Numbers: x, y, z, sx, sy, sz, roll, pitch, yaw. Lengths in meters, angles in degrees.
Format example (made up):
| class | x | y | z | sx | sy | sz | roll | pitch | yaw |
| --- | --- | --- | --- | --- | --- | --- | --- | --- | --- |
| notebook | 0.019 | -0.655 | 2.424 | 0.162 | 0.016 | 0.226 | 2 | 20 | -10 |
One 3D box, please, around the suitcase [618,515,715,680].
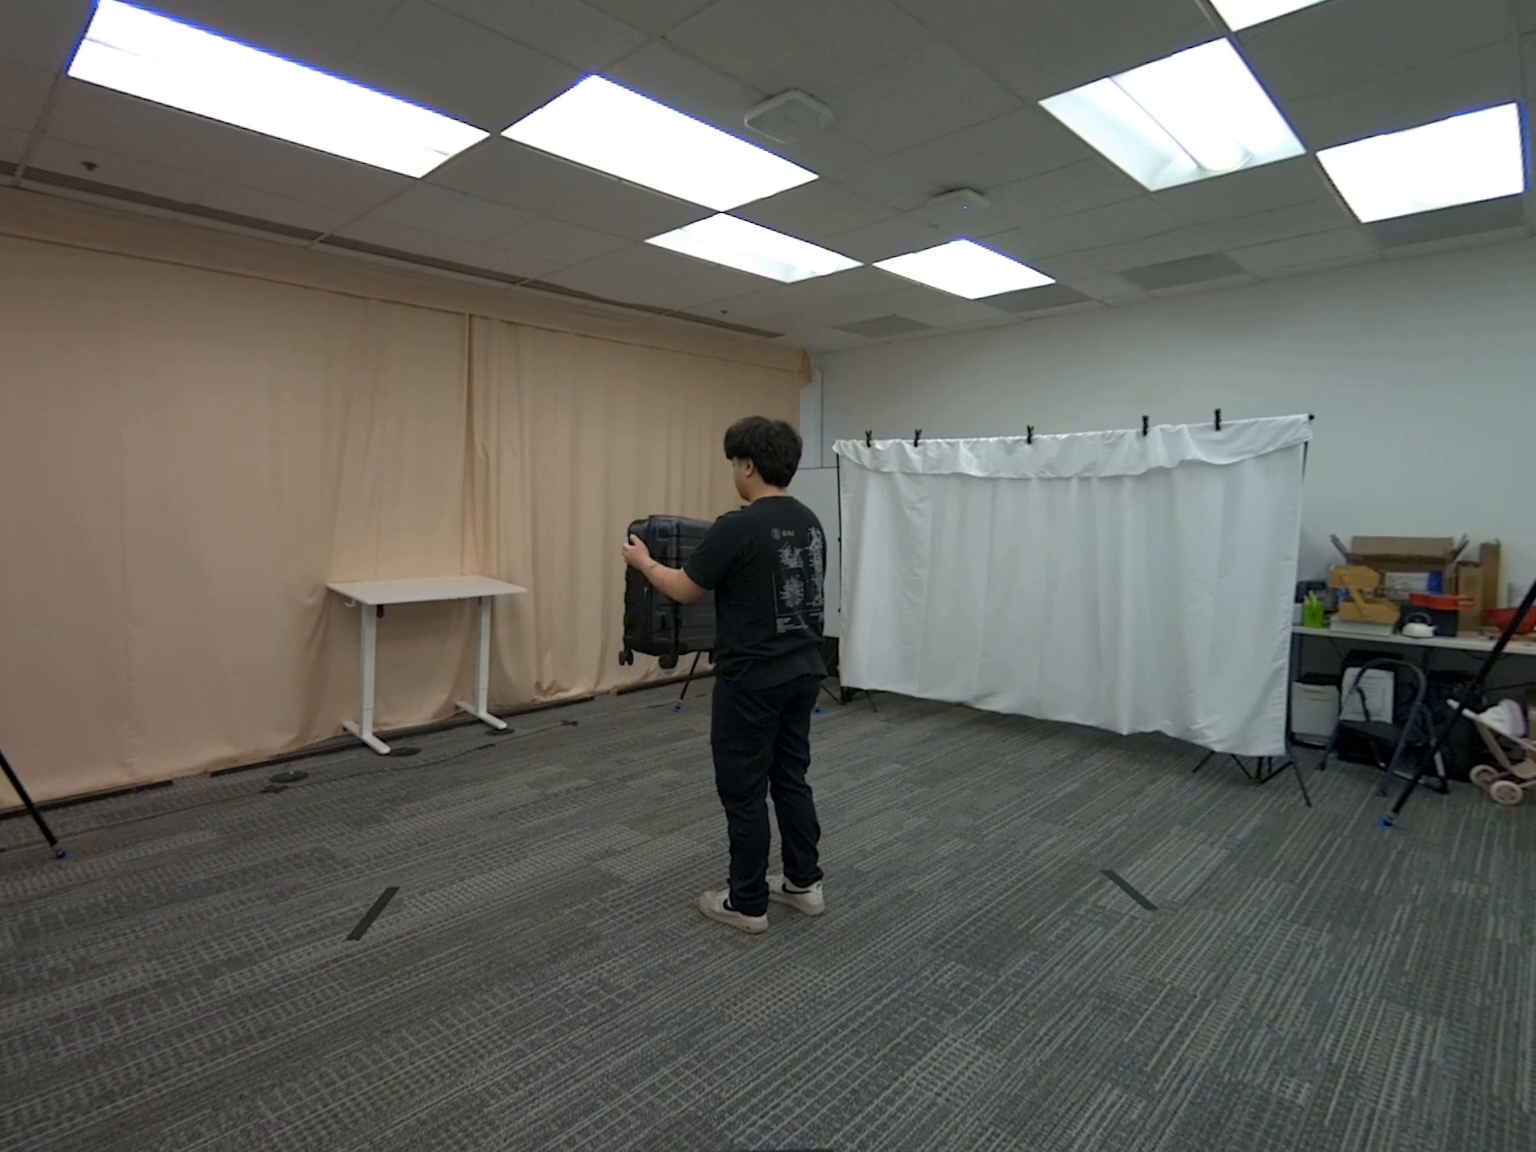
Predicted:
| class | x | y | z | sx | sy | sz | roll | pitch | yaw |
| --- | --- | --- | --- | --- | --- | --- | --- | --- | --- |
| suitcase | -0.348 | 0.052 | 3.125 | 0.255 | 0.550 | 0.364 | -1 | -3 | 32 |
